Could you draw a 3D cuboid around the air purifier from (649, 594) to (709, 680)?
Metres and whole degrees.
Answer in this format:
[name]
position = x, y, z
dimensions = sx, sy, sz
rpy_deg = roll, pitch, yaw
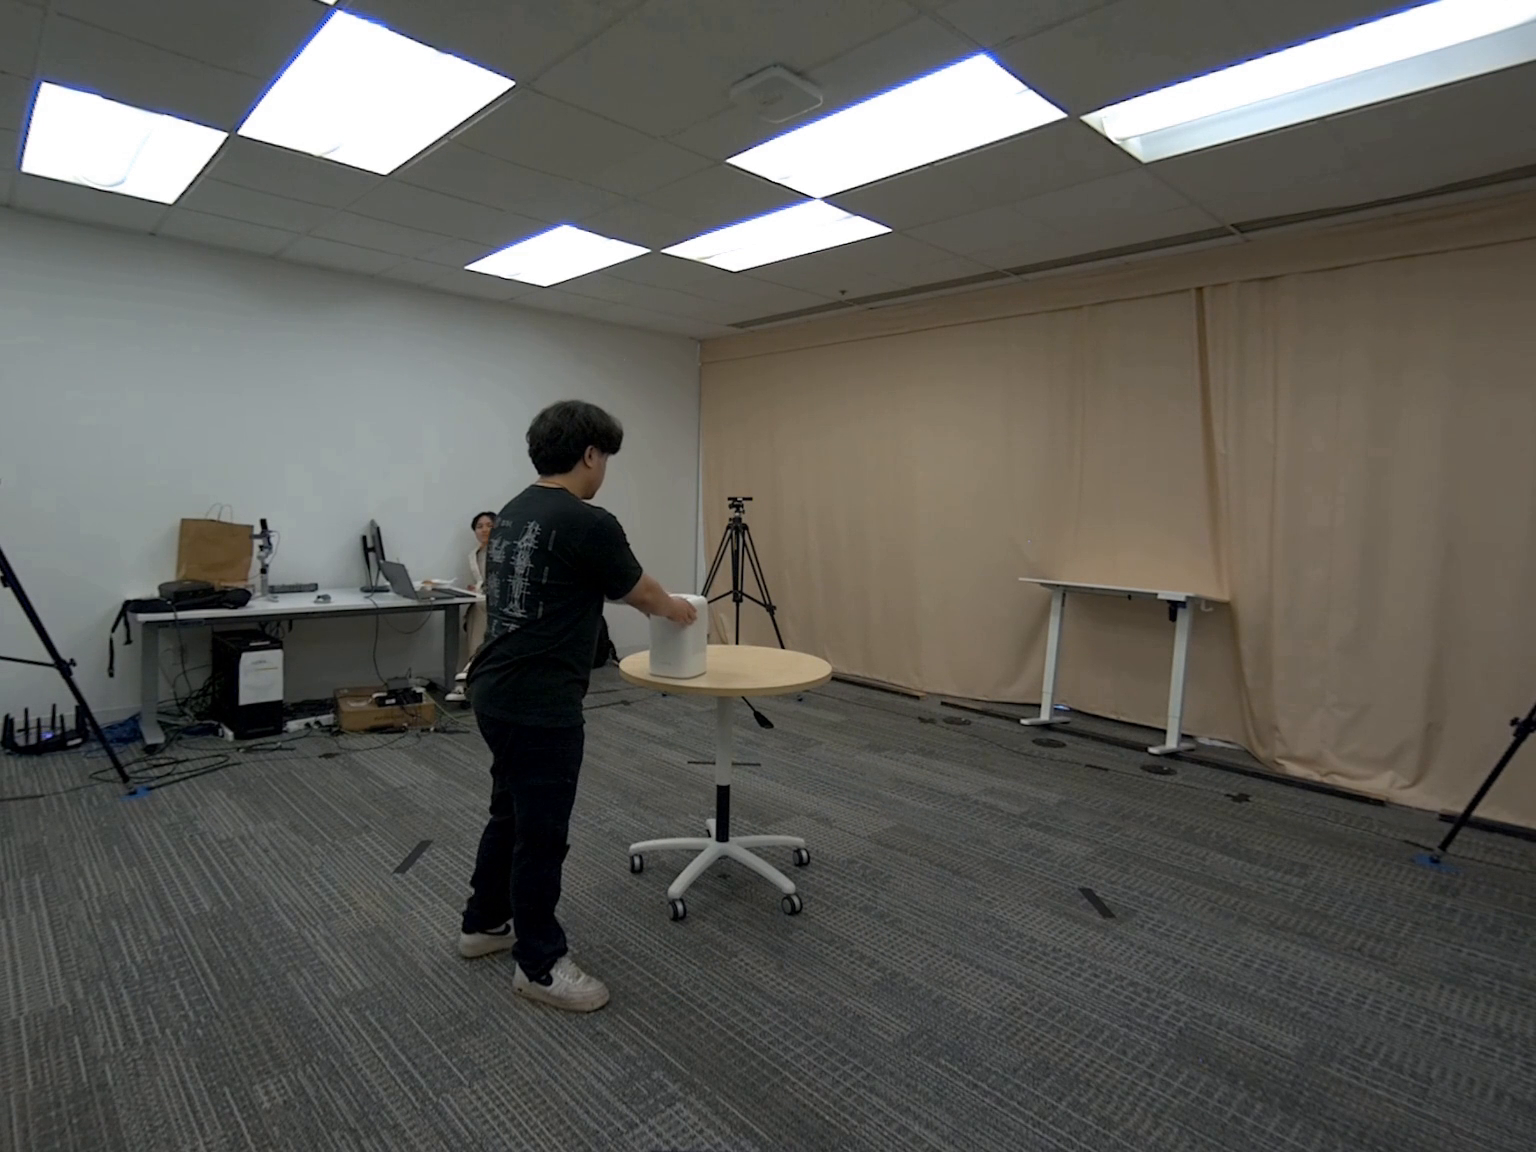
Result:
[air purifier]
position = -0.313, 0.201, 2.870
dimensions = 0.174, 0.264, 0.169
rpy_deg = 1, 5, 28
